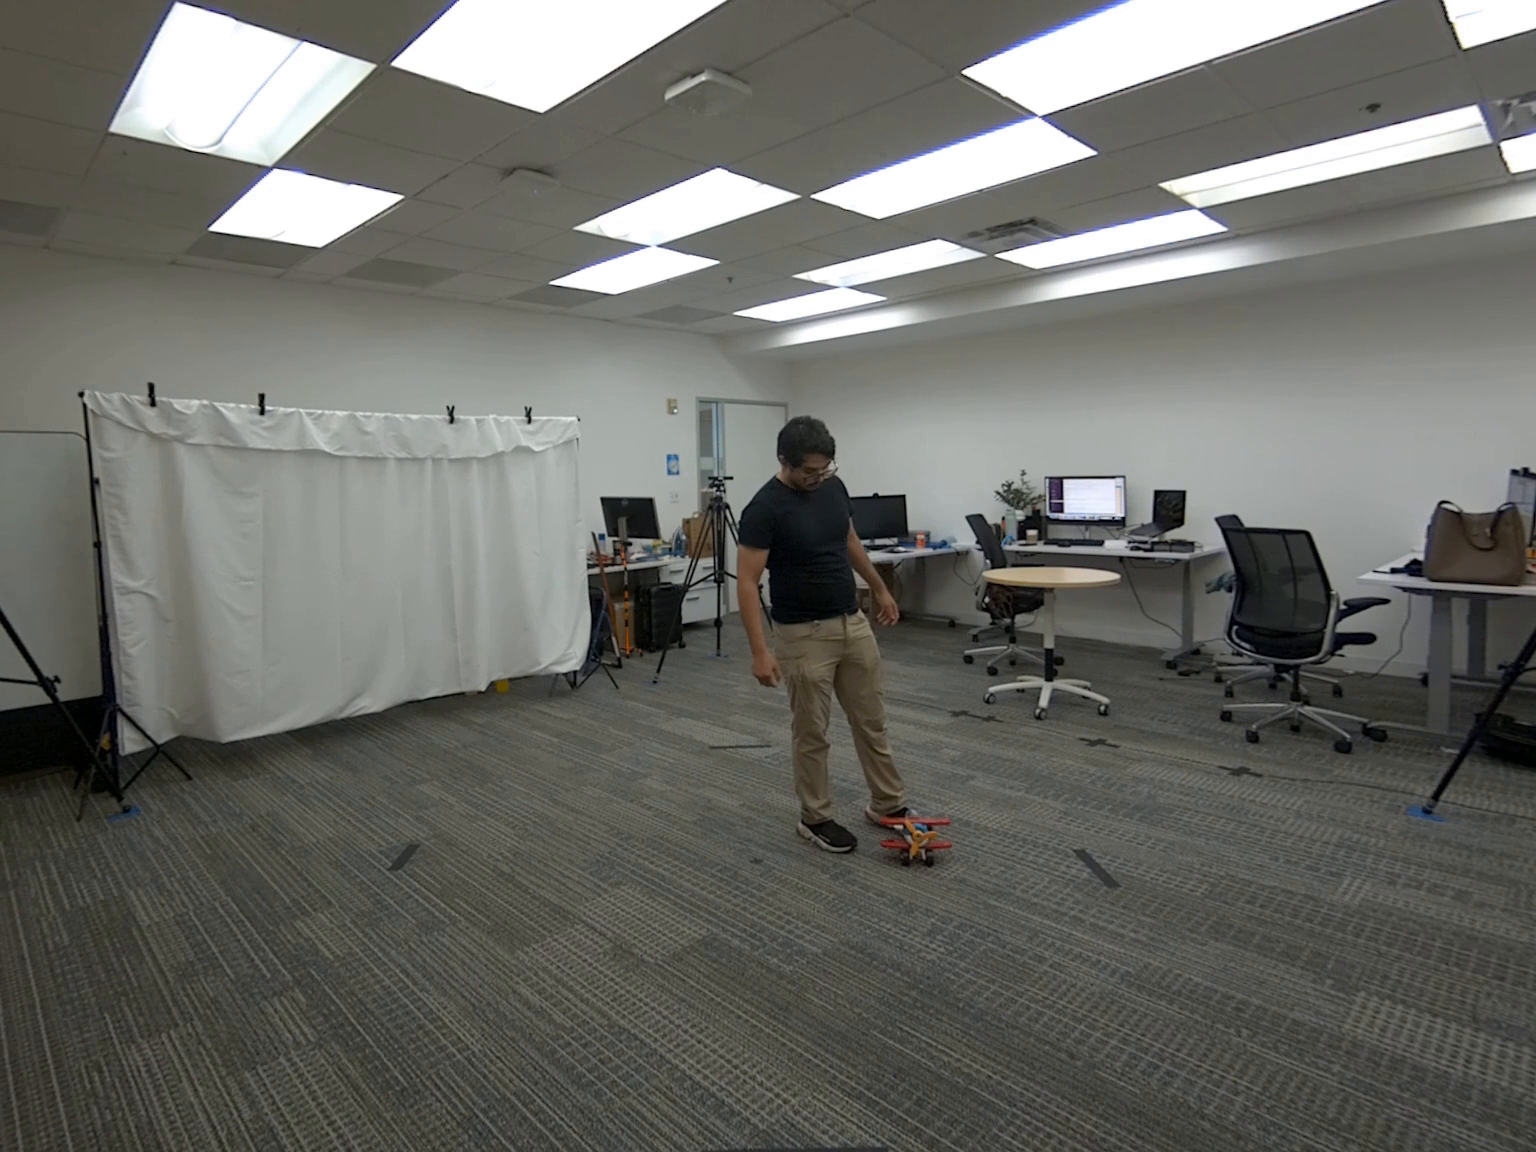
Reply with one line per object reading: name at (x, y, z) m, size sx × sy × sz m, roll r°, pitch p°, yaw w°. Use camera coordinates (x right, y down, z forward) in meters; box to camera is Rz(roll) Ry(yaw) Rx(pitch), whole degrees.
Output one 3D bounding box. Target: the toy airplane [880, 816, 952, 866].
toy airplane at (0.522, 0.954, 3.138) m, size 0.246 × 0.155 × 0.265 m, roll -4°, pitch 7°, yaw -21°
